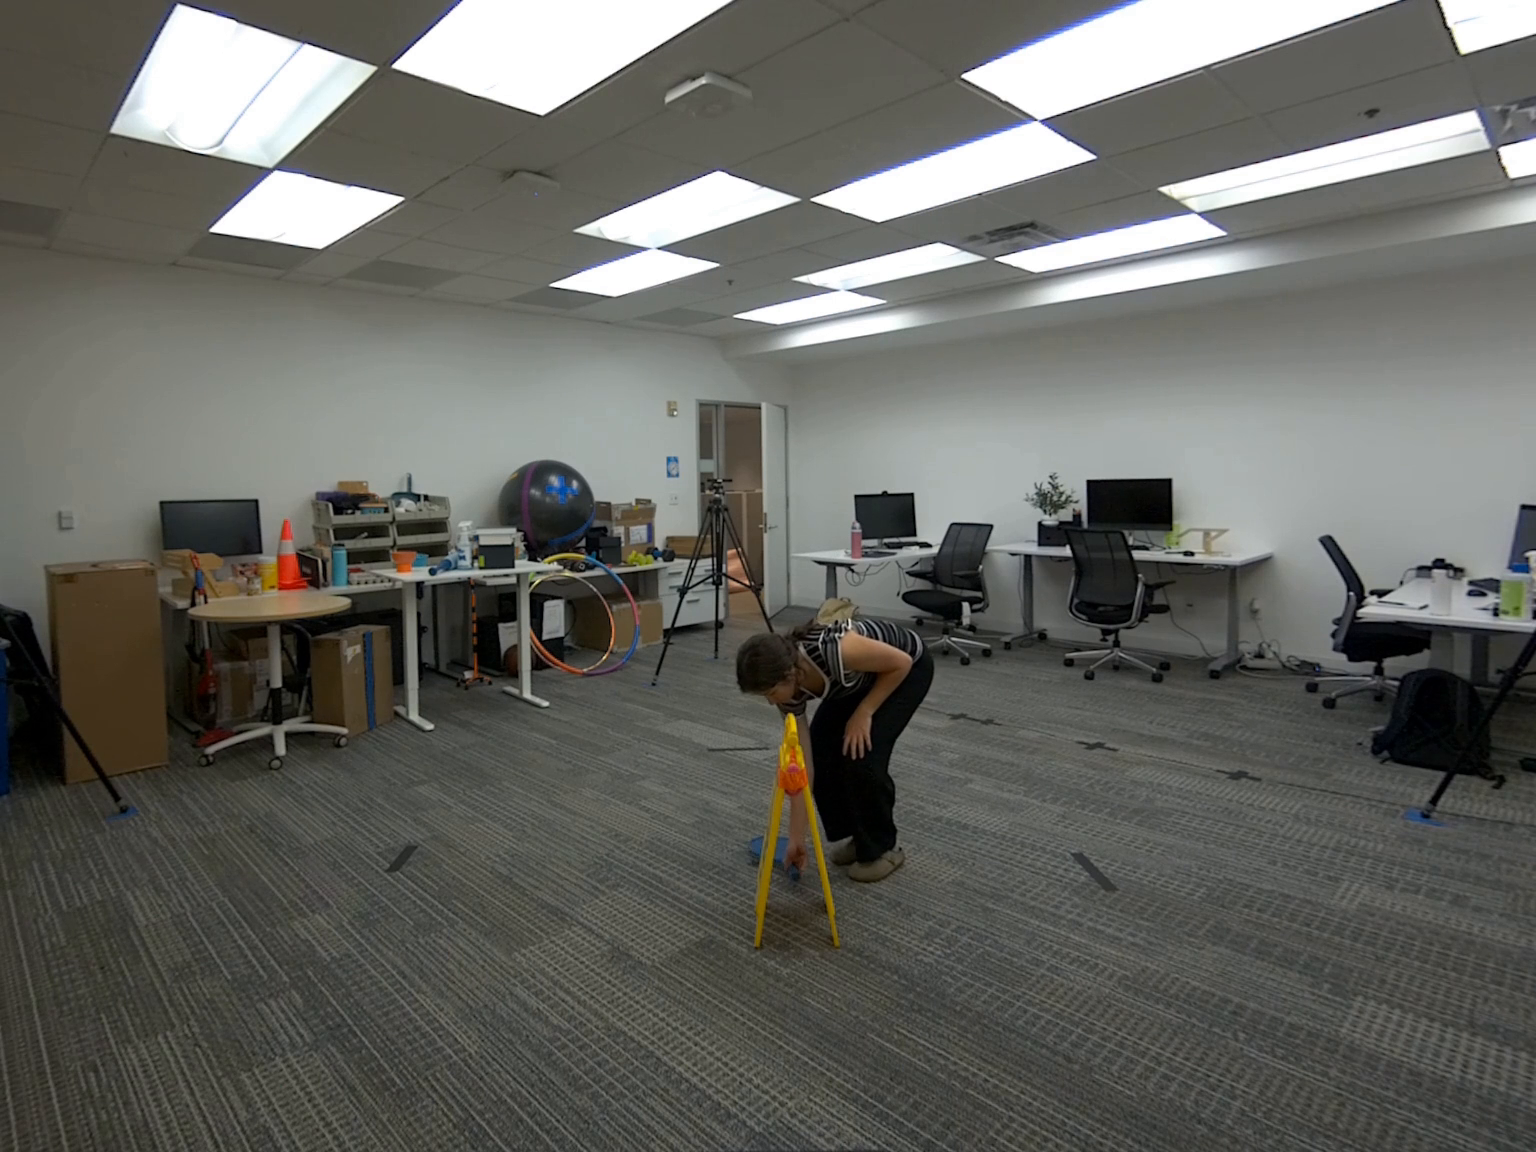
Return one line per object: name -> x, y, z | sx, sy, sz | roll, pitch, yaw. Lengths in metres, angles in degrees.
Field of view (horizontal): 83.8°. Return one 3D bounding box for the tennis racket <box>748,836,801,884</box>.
tennis racket -> 0.050, 1.016, 3.110 | 0.212, 0.032, 0.436 | 1, 1, -10
